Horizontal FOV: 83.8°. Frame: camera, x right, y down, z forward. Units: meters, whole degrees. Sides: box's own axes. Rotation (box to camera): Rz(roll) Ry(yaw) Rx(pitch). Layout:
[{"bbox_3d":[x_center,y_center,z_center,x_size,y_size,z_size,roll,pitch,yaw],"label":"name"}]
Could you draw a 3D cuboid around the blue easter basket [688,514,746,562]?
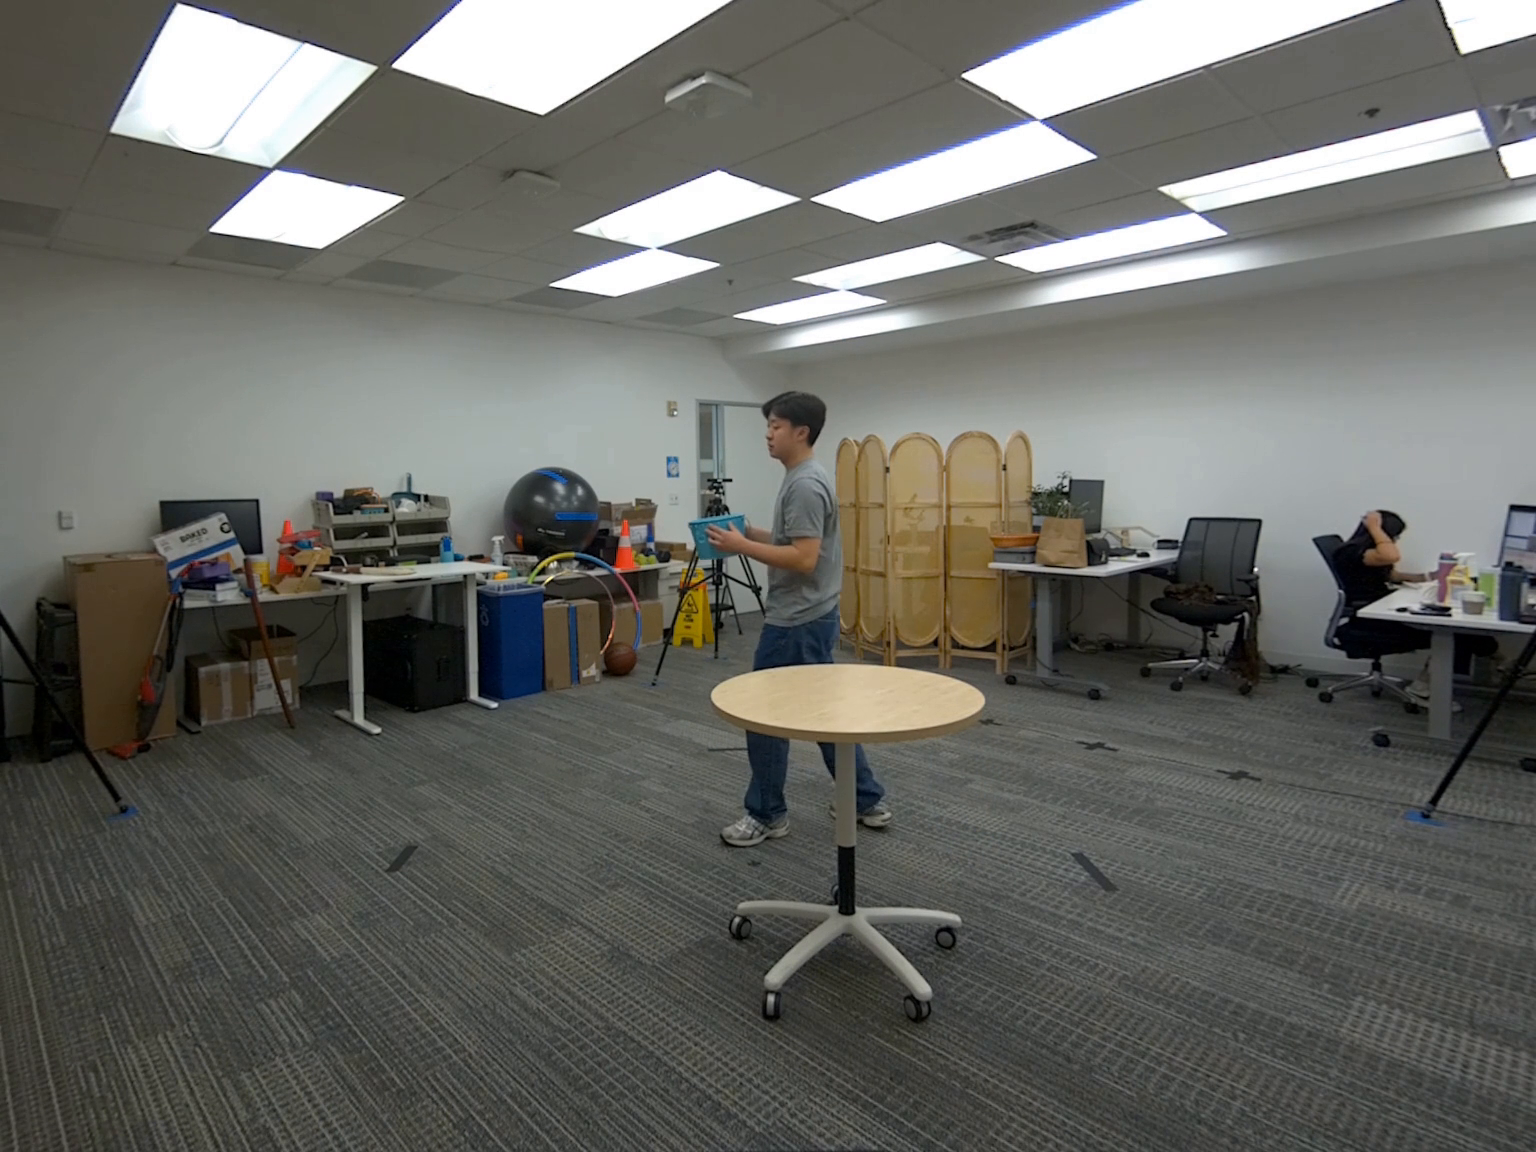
[{"bbox_3d":[-0.177,-0.156,3.359,0.243,0.155,0.245,-8,7,-1],"label":"blue easter basket"}]
